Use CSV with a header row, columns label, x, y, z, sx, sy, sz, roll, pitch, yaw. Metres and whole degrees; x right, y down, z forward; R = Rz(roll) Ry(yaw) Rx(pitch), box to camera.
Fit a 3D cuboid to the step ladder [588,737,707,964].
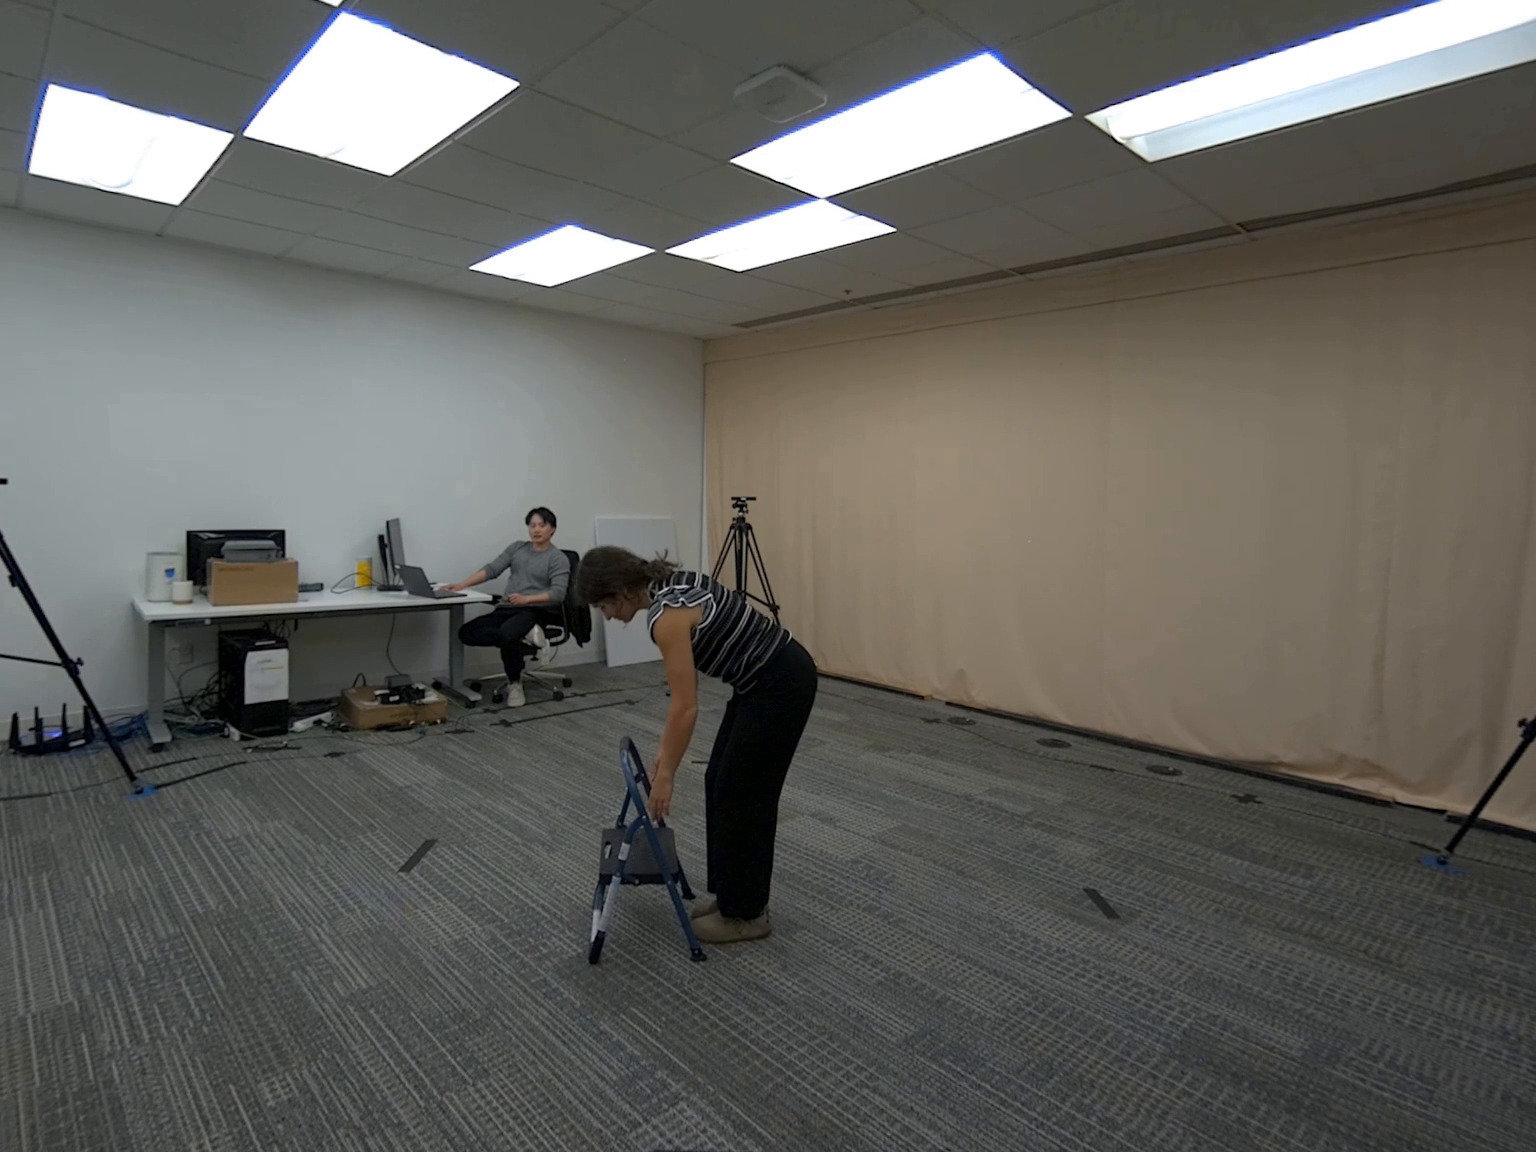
label,x,y,z,sx,sy,sz,roll,pitch,yaw
step ladder,-0.393,0.836,2.700,0.347,0.605,0.435,1,3,-10
